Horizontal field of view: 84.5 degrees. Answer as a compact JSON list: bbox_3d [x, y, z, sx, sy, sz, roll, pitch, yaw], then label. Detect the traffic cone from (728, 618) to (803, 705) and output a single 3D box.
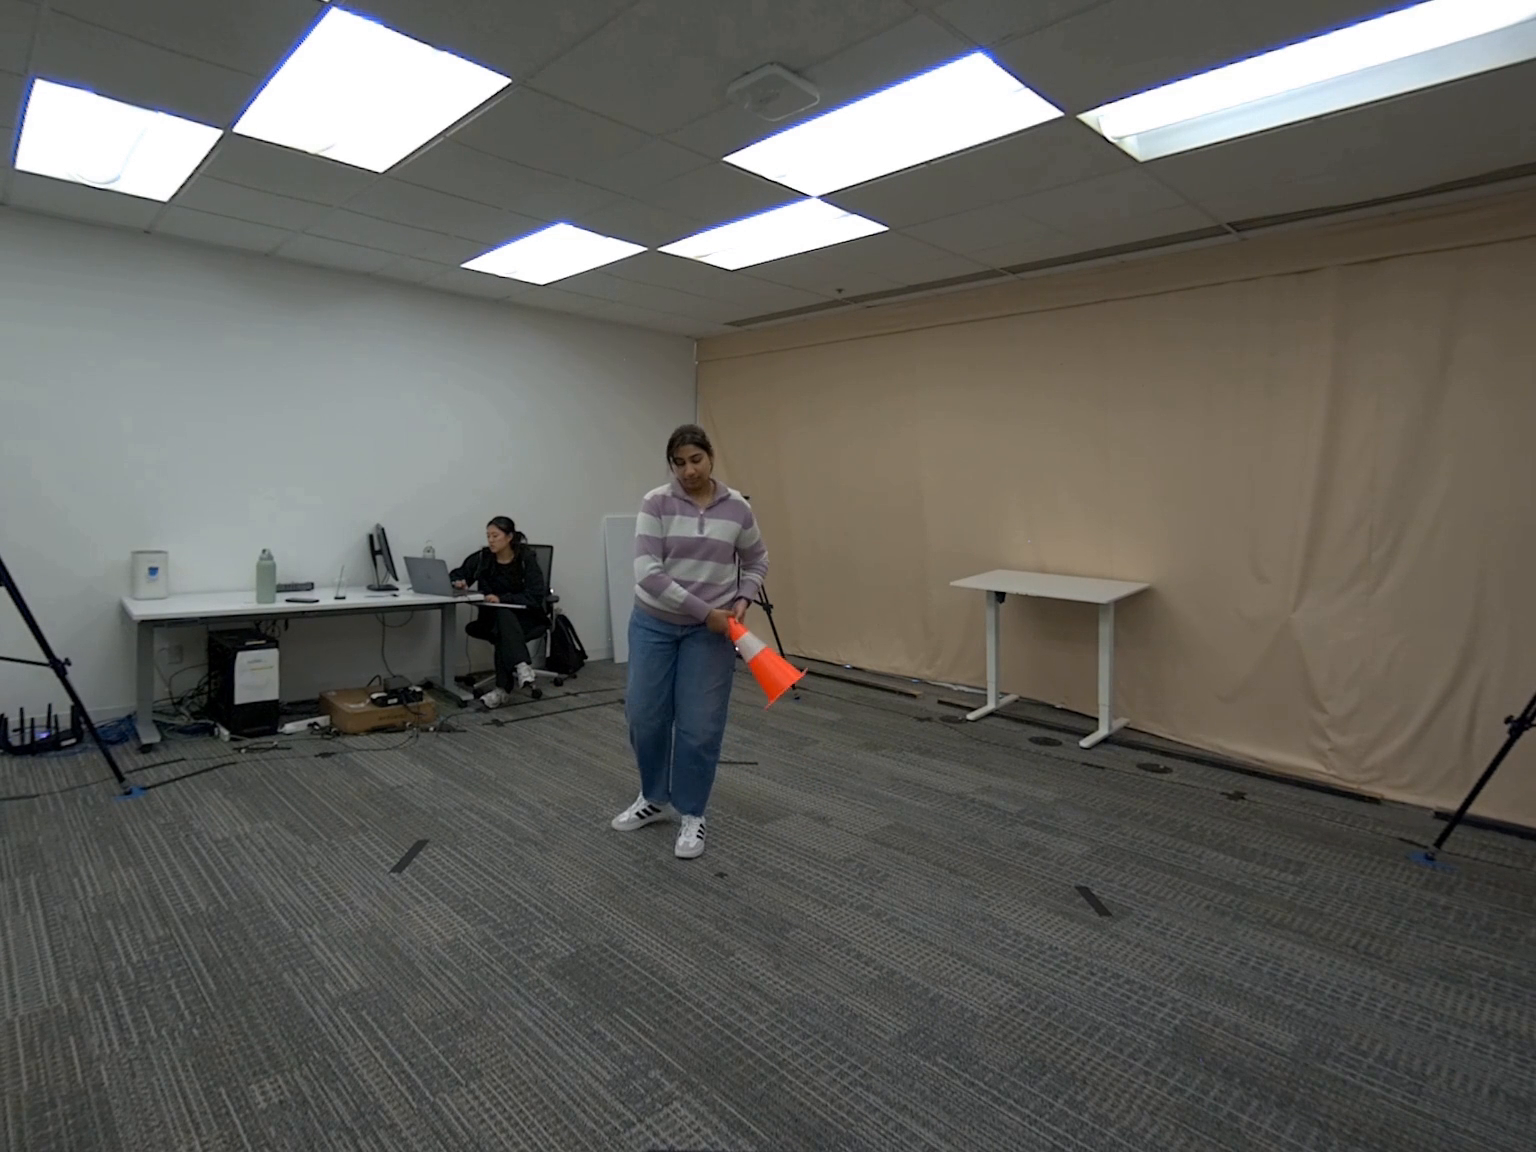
[{"bbox_3d":[-0.066,0.283,3.187,0.203,0.388,0.203,-42,-9,10],"label":"traffic cone"}]
